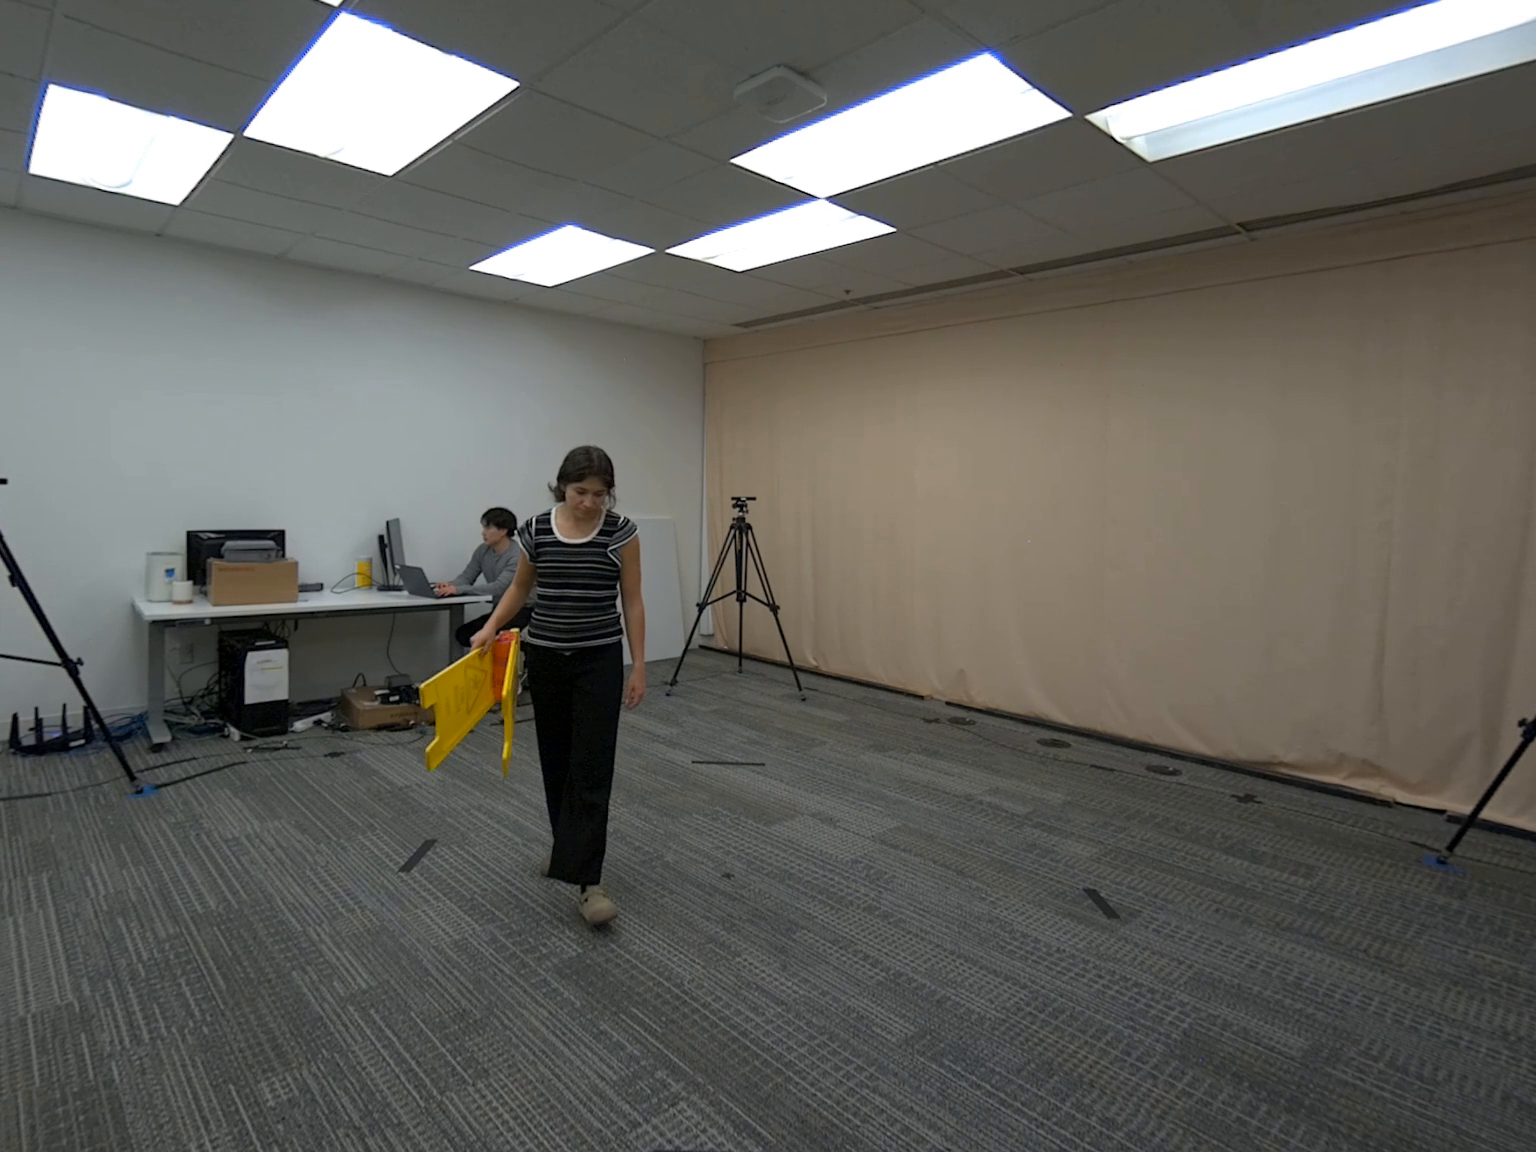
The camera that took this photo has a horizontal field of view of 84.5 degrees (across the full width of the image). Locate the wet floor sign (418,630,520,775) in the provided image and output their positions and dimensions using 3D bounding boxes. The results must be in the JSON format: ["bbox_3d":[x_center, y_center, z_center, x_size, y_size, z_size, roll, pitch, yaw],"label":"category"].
[{"bbox_3d":[-0.913,0.372,2.811,0.289,0.279,0.654,3,14,-4],"label":"wet floor sign"}]
